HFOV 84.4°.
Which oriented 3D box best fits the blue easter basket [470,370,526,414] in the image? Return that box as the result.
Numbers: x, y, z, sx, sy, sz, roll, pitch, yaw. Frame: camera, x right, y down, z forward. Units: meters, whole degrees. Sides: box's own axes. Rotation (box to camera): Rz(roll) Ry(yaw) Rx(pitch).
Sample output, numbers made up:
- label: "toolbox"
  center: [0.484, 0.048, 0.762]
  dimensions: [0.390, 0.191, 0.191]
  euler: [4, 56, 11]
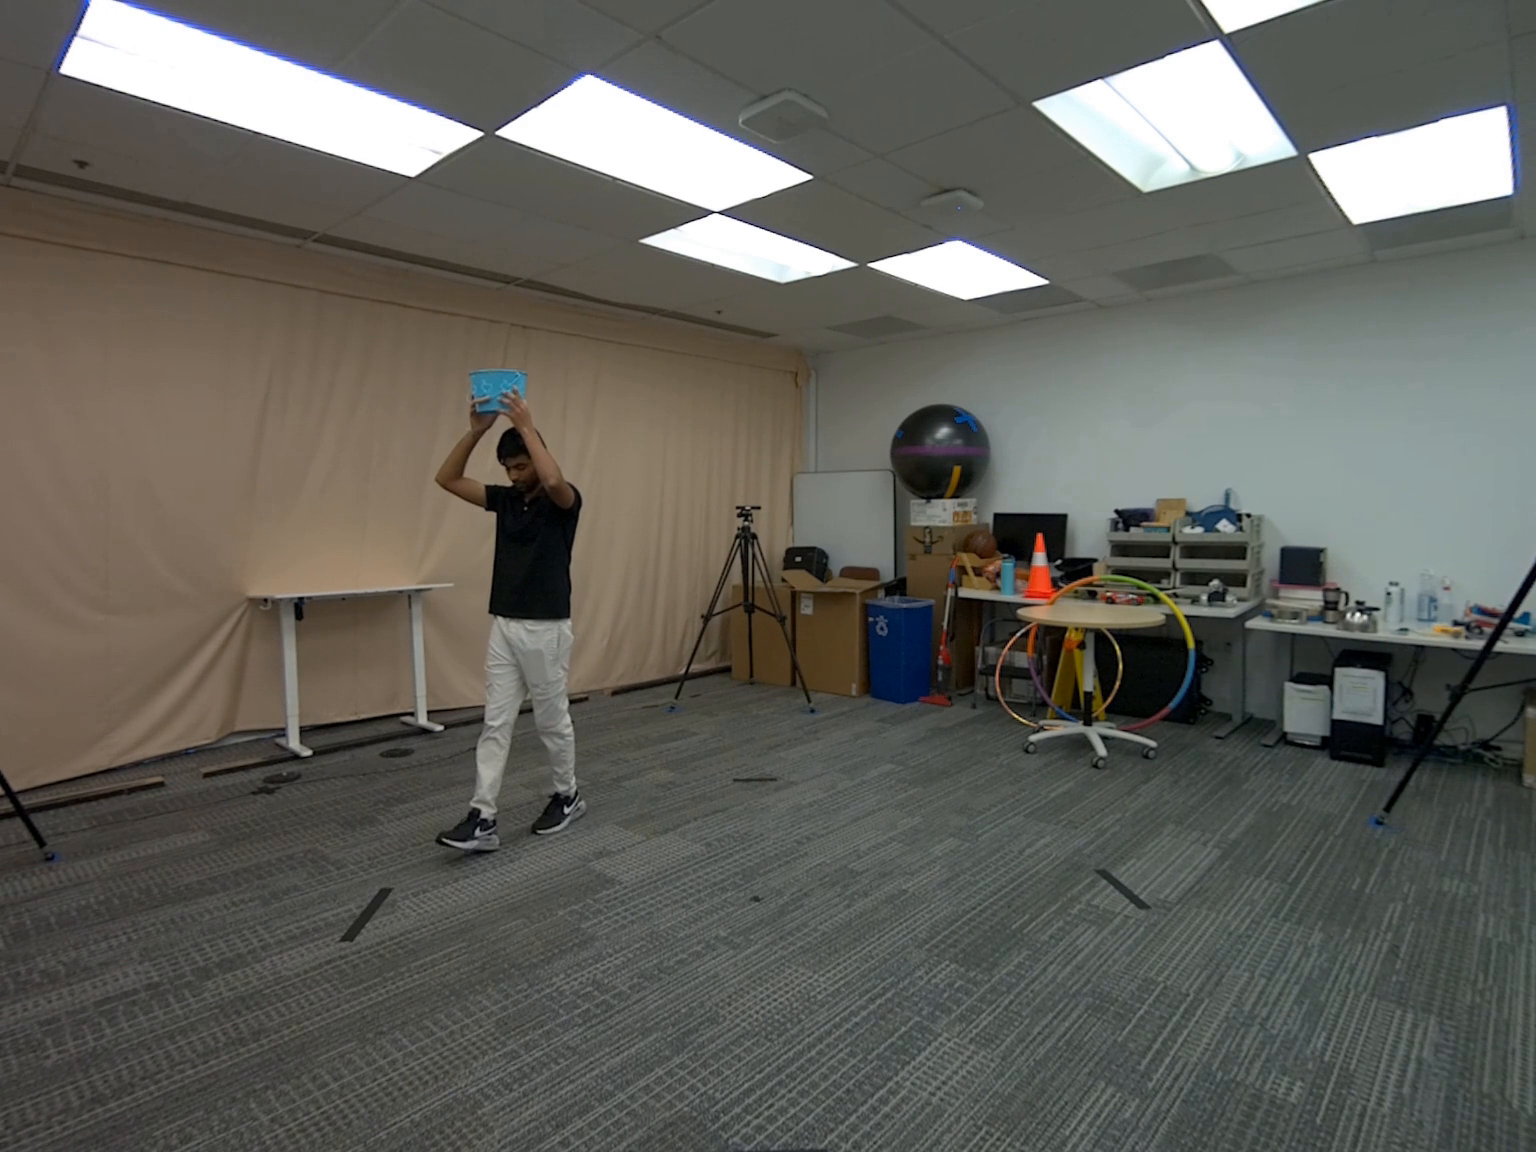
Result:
- label: "blue easter basket"
  center: [-1.095, -0.740, 3.389]
  dimensions: [0.243, 0.155, 0.244]
  euler: [-1, 4, -2]
